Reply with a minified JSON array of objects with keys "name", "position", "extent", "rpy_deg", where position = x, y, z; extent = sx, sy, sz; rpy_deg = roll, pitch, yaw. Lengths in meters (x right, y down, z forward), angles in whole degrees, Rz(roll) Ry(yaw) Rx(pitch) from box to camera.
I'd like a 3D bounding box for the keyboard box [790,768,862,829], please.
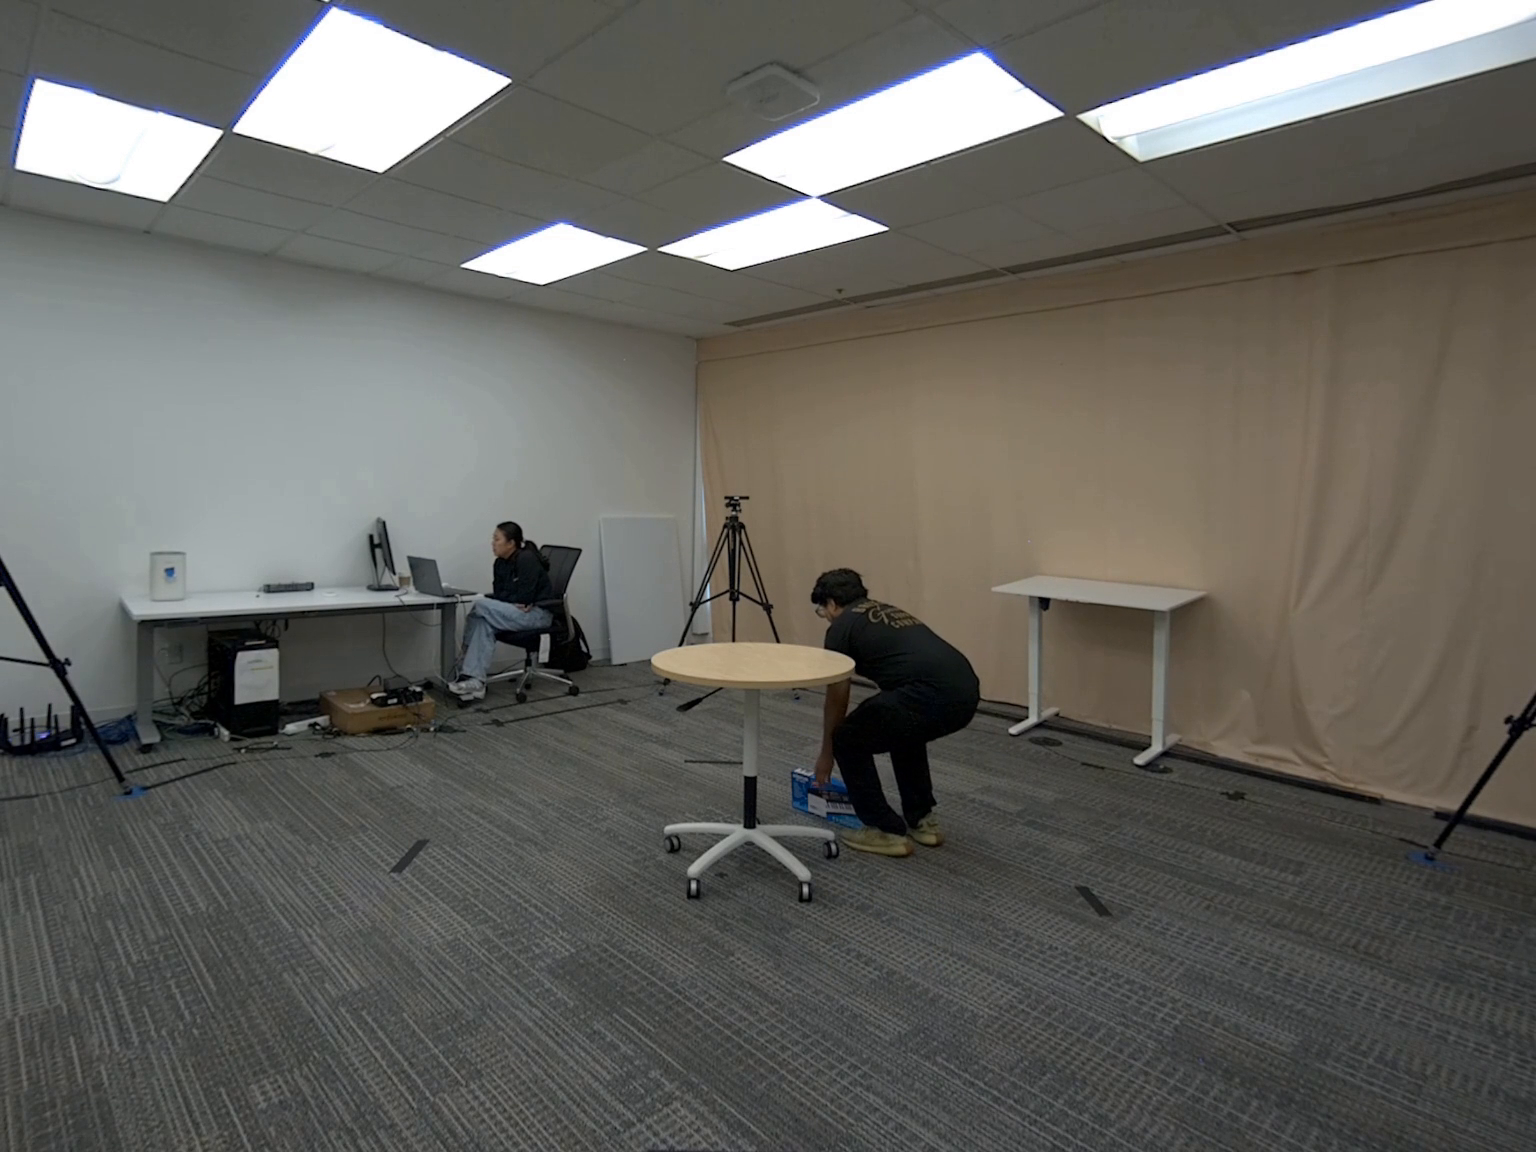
[{"name":"keyboard box","position":[0.283,0.976,3.682],"extent":[0.448,0.175,0.058],"rpy_deg":[6,11,43]}]
